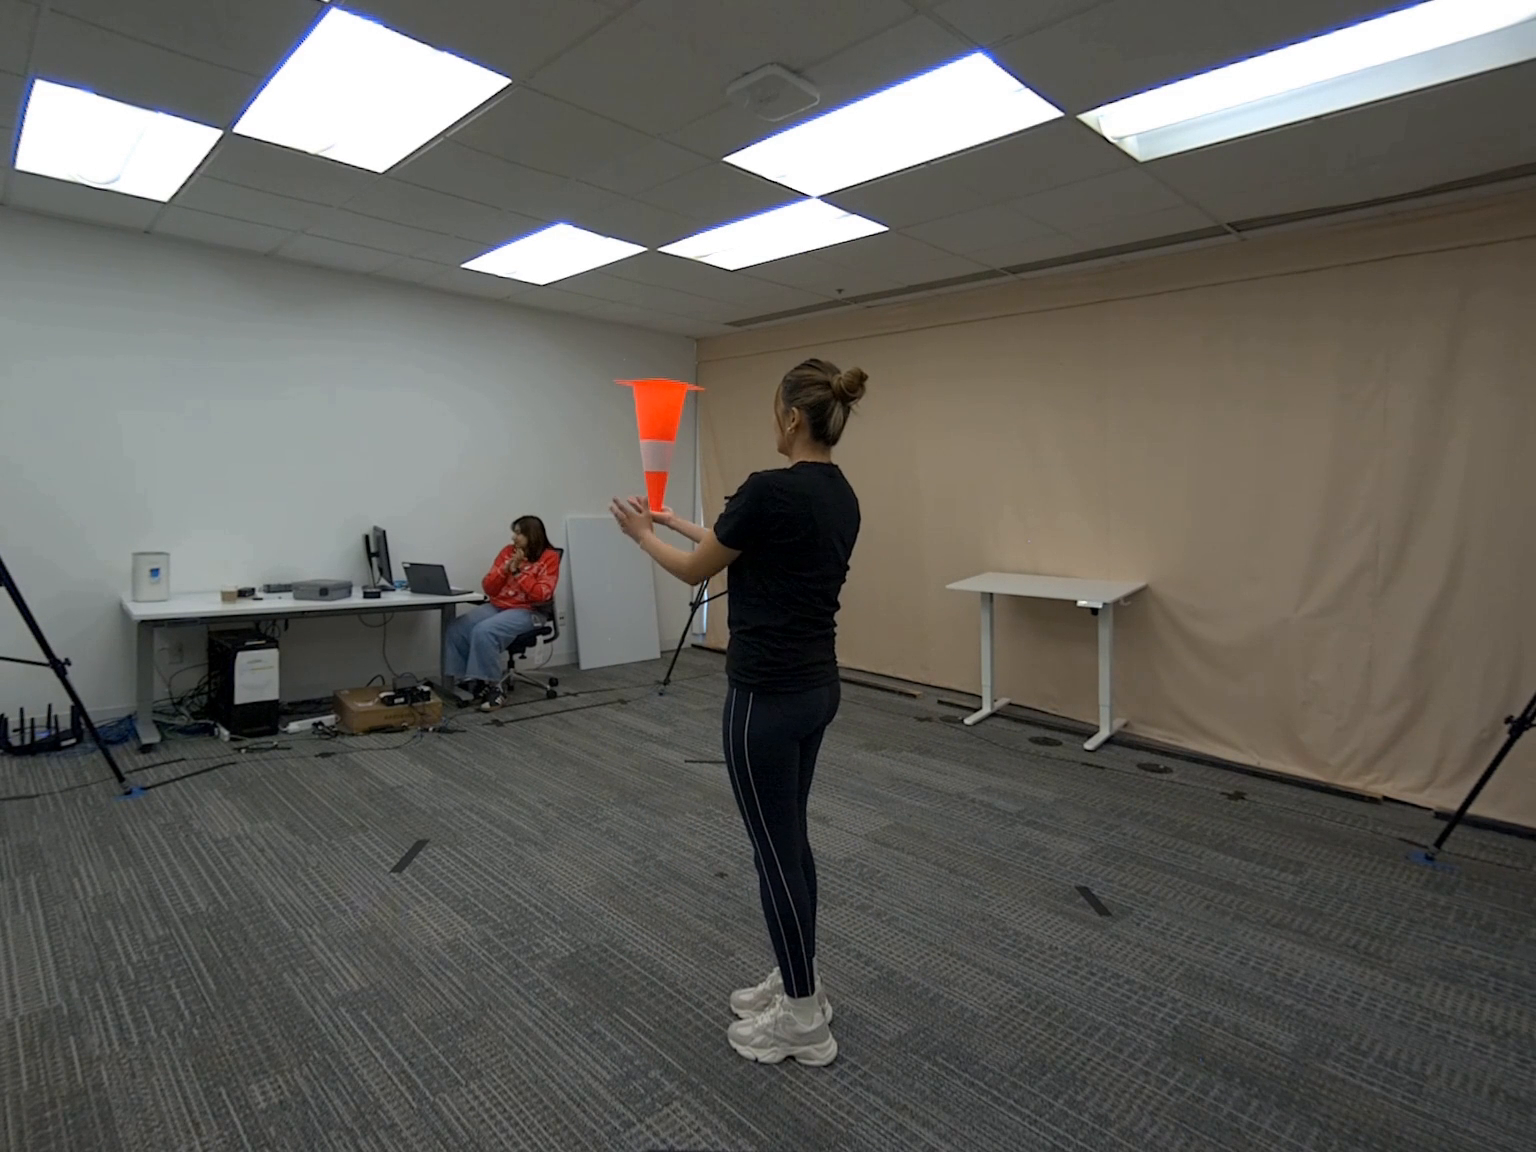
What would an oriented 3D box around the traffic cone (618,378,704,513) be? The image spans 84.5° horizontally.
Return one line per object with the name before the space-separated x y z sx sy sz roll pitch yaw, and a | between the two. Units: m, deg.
traffic cone | -0.343 -0.376 2.481 0.210 0.383 0.199 6 4 36
